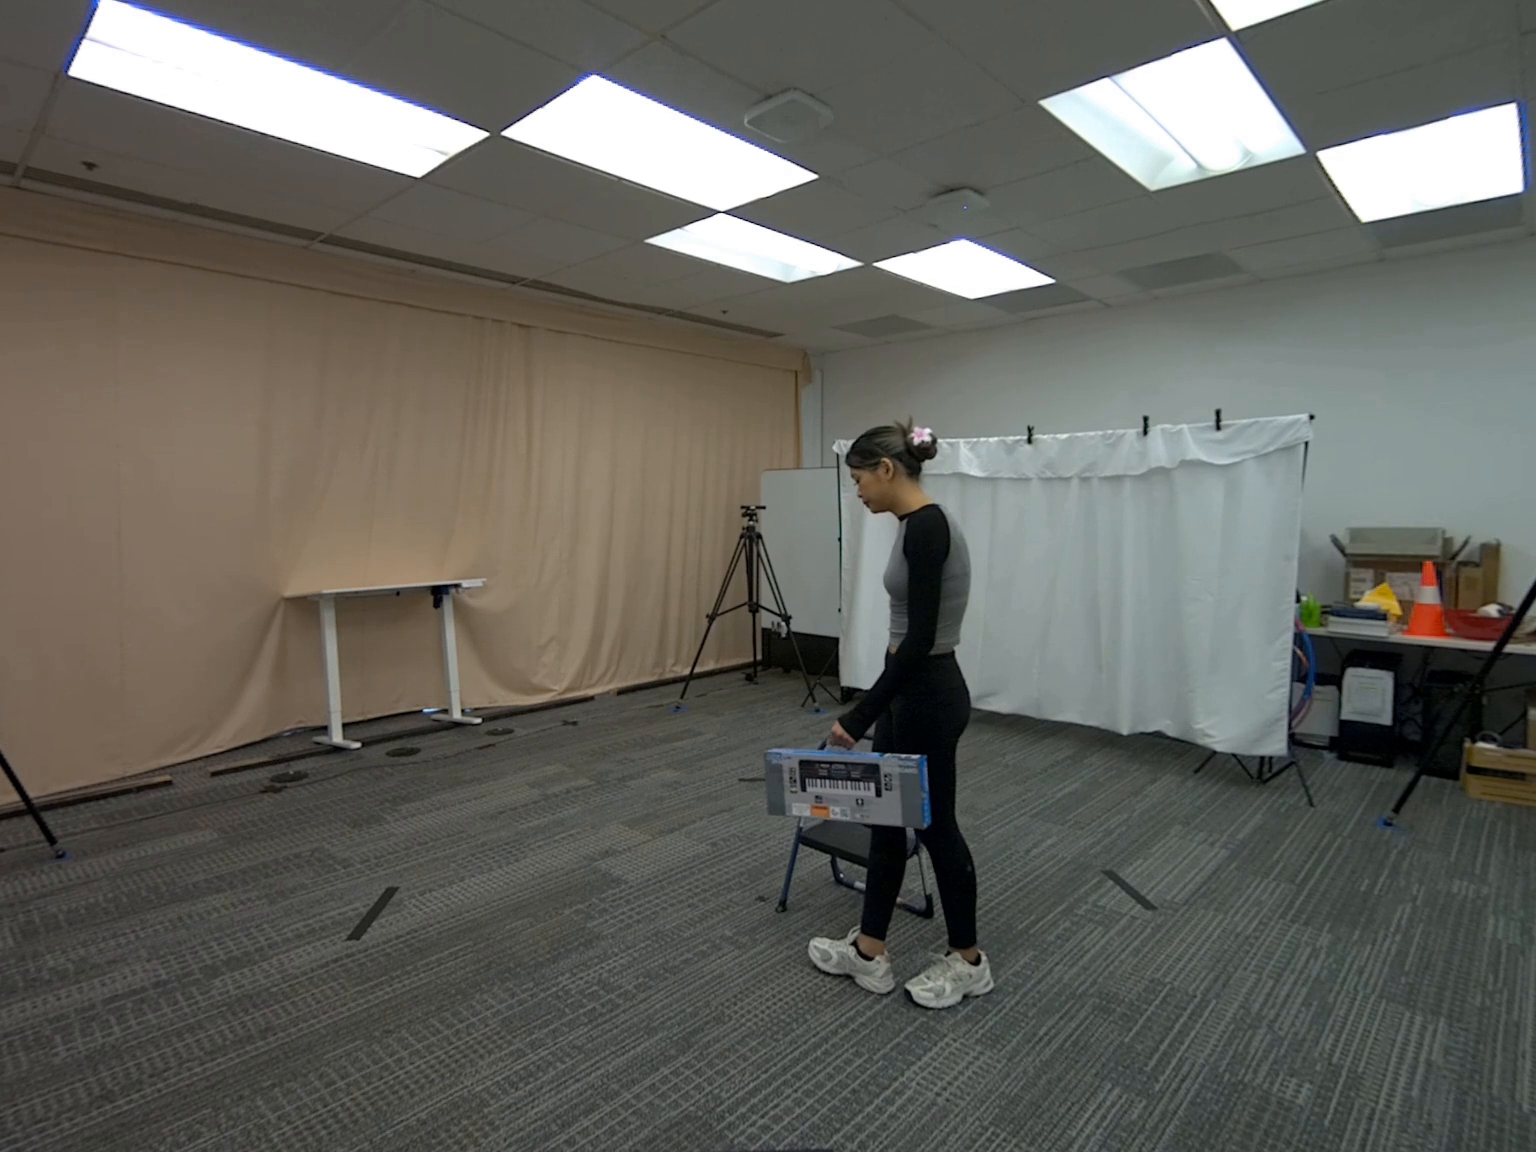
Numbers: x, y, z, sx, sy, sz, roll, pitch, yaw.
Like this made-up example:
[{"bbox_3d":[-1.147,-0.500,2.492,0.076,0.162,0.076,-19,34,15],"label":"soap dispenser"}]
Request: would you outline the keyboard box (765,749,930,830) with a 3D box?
[{"bbox_3d":[0.208,0.551,2.218,0.448,0.176,0.057,-4,-3,28],"label":"keyboard box"}]
